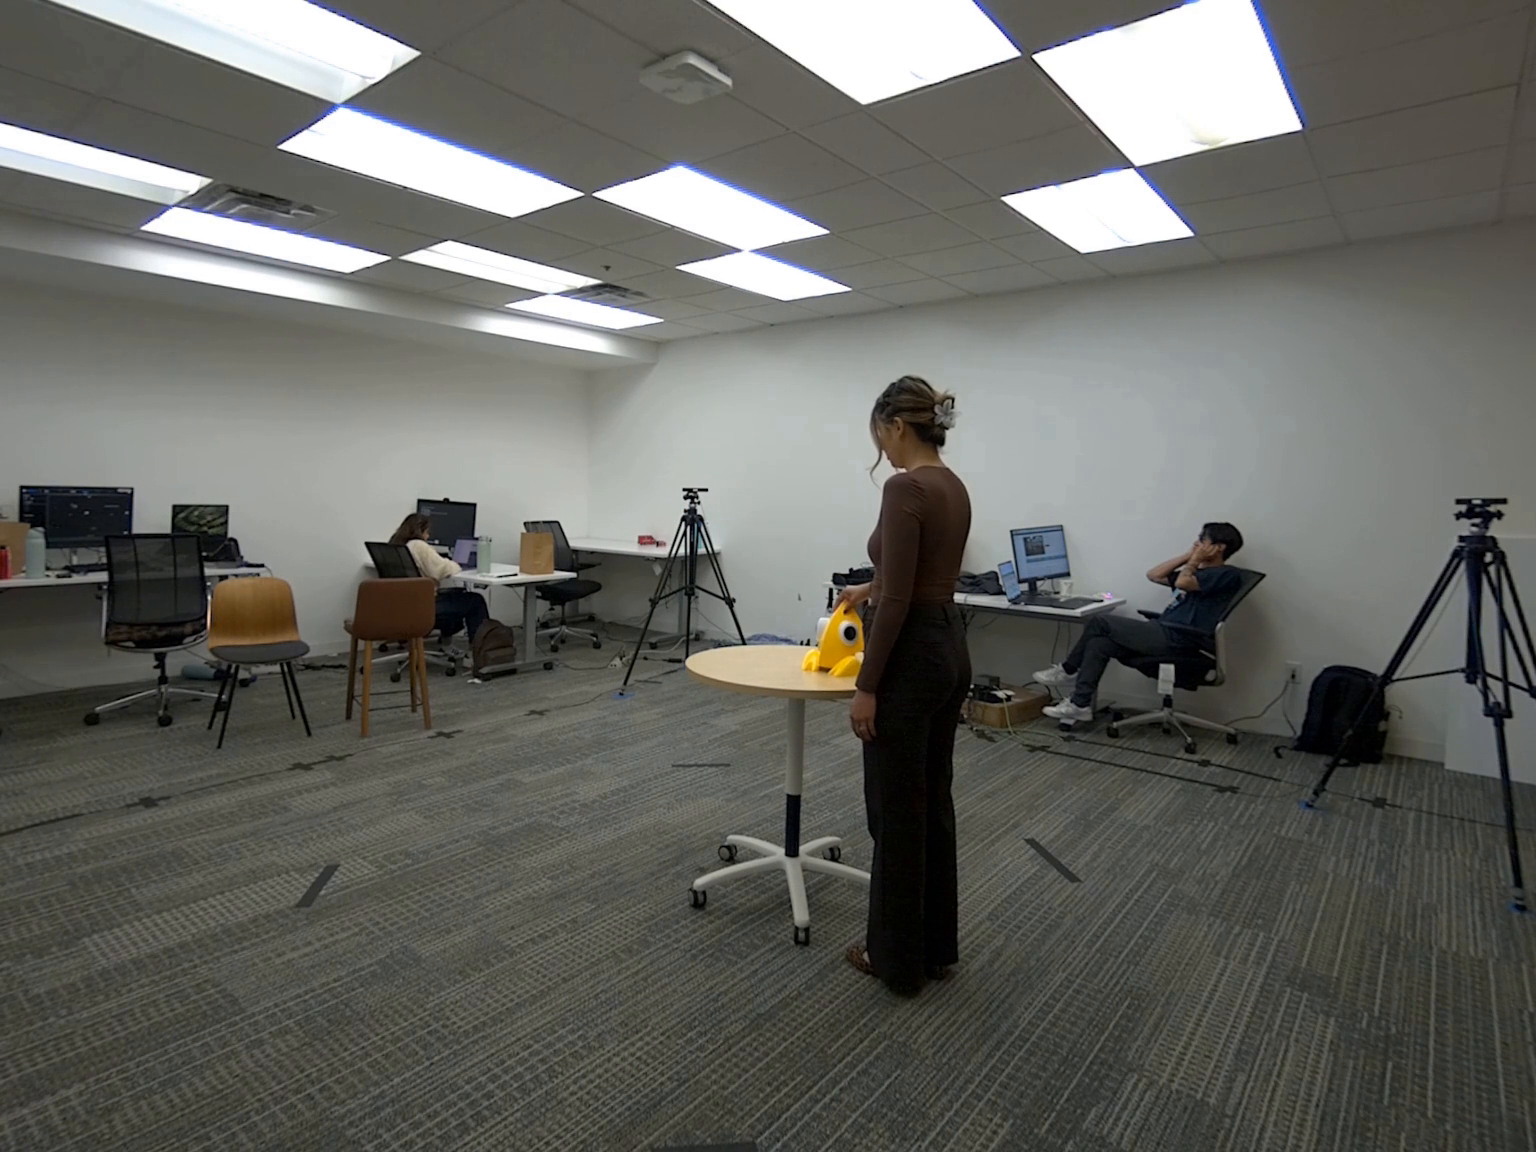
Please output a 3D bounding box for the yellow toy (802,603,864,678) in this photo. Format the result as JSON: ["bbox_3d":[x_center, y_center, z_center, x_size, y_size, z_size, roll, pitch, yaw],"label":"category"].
[{"bbox_3d":[0.219,0.196,2.825,0.212,0.230,0.187,5,6,41],"label":"yellow toy"}]
